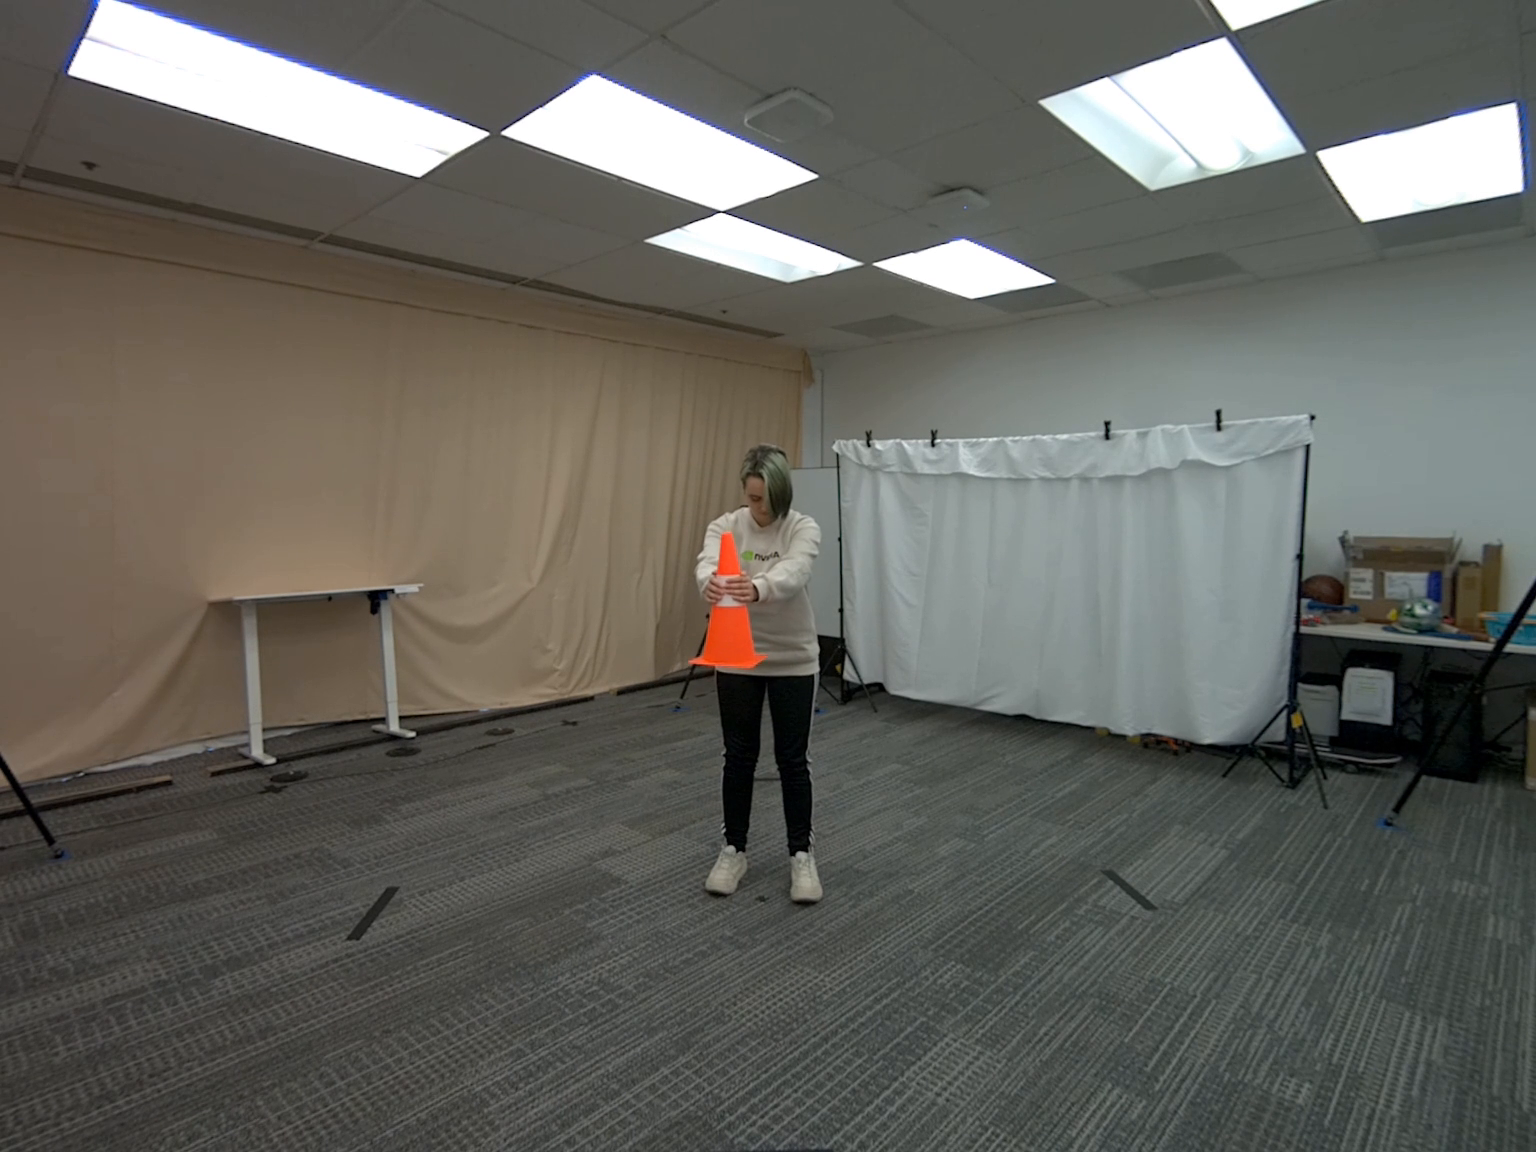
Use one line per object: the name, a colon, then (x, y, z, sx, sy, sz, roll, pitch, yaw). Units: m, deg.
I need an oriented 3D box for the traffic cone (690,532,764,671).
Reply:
traffic cone: (-0.121, 0.070, 2.517, 0.209, 0.382, 0.200, 0, 5, 16)
